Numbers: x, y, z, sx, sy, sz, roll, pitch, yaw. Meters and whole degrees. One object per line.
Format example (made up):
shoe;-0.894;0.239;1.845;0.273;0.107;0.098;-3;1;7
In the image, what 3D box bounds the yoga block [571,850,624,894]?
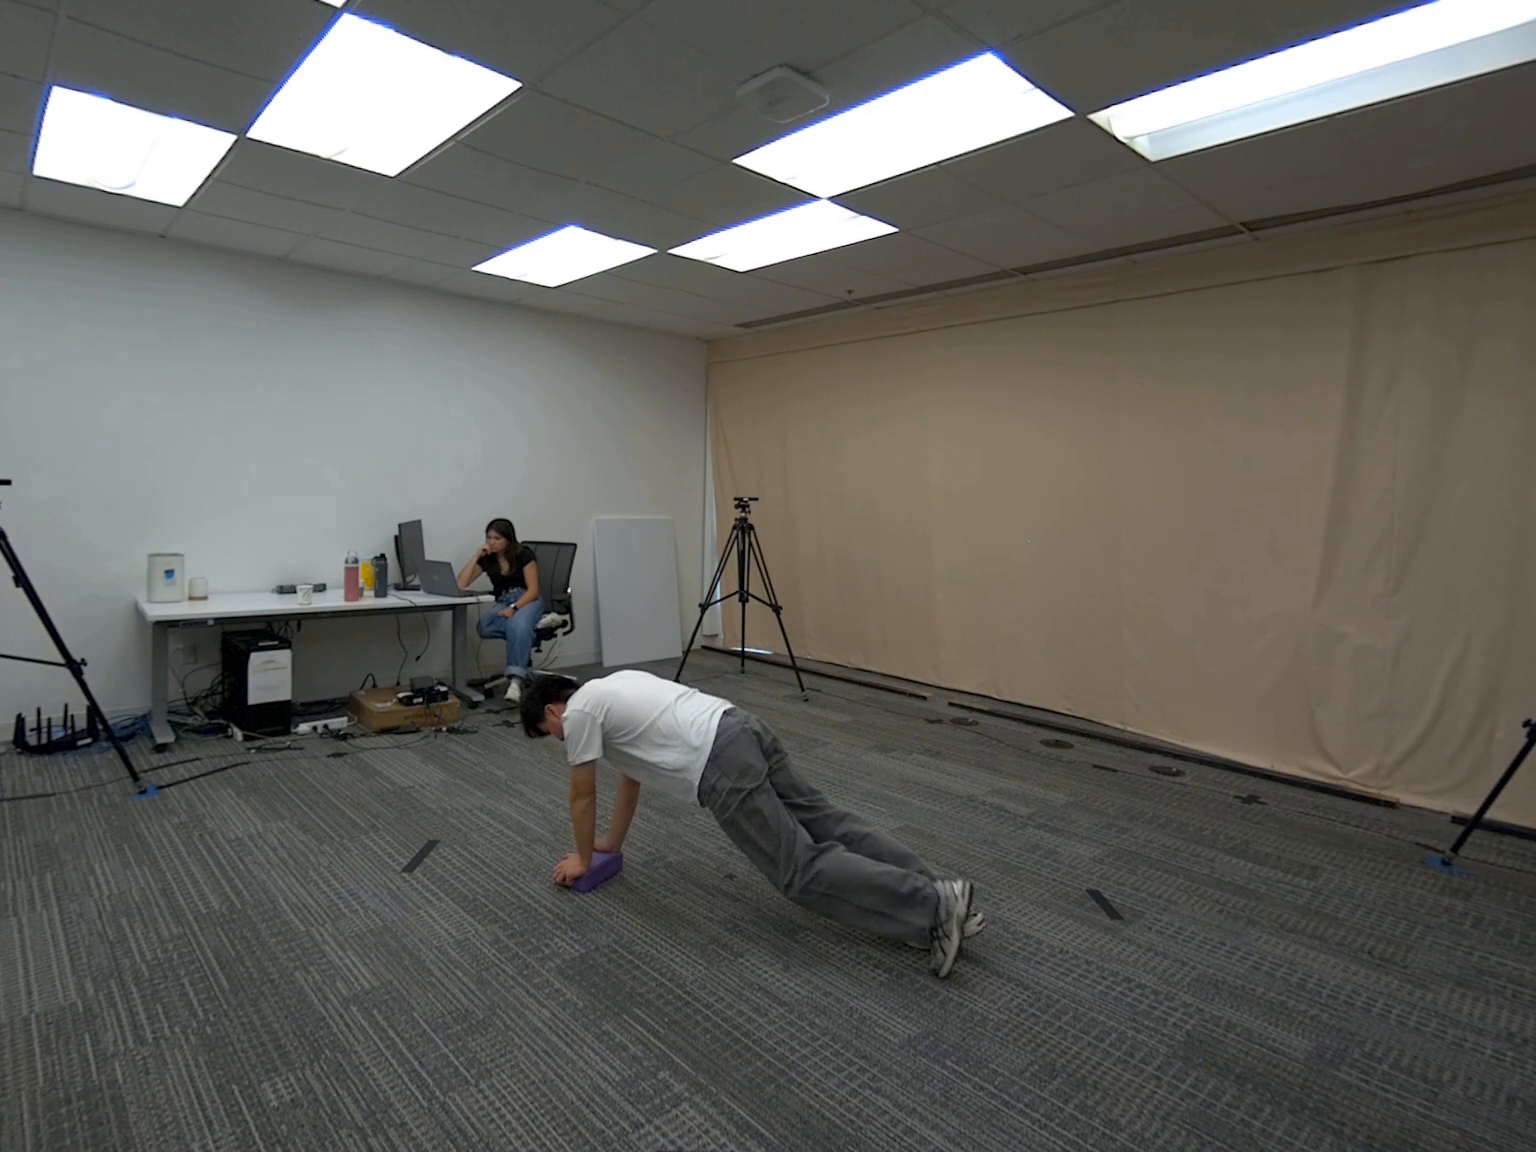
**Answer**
yoga block;-0.663;1.071;3.071;0.152;0.076;0.225;1;5;28
